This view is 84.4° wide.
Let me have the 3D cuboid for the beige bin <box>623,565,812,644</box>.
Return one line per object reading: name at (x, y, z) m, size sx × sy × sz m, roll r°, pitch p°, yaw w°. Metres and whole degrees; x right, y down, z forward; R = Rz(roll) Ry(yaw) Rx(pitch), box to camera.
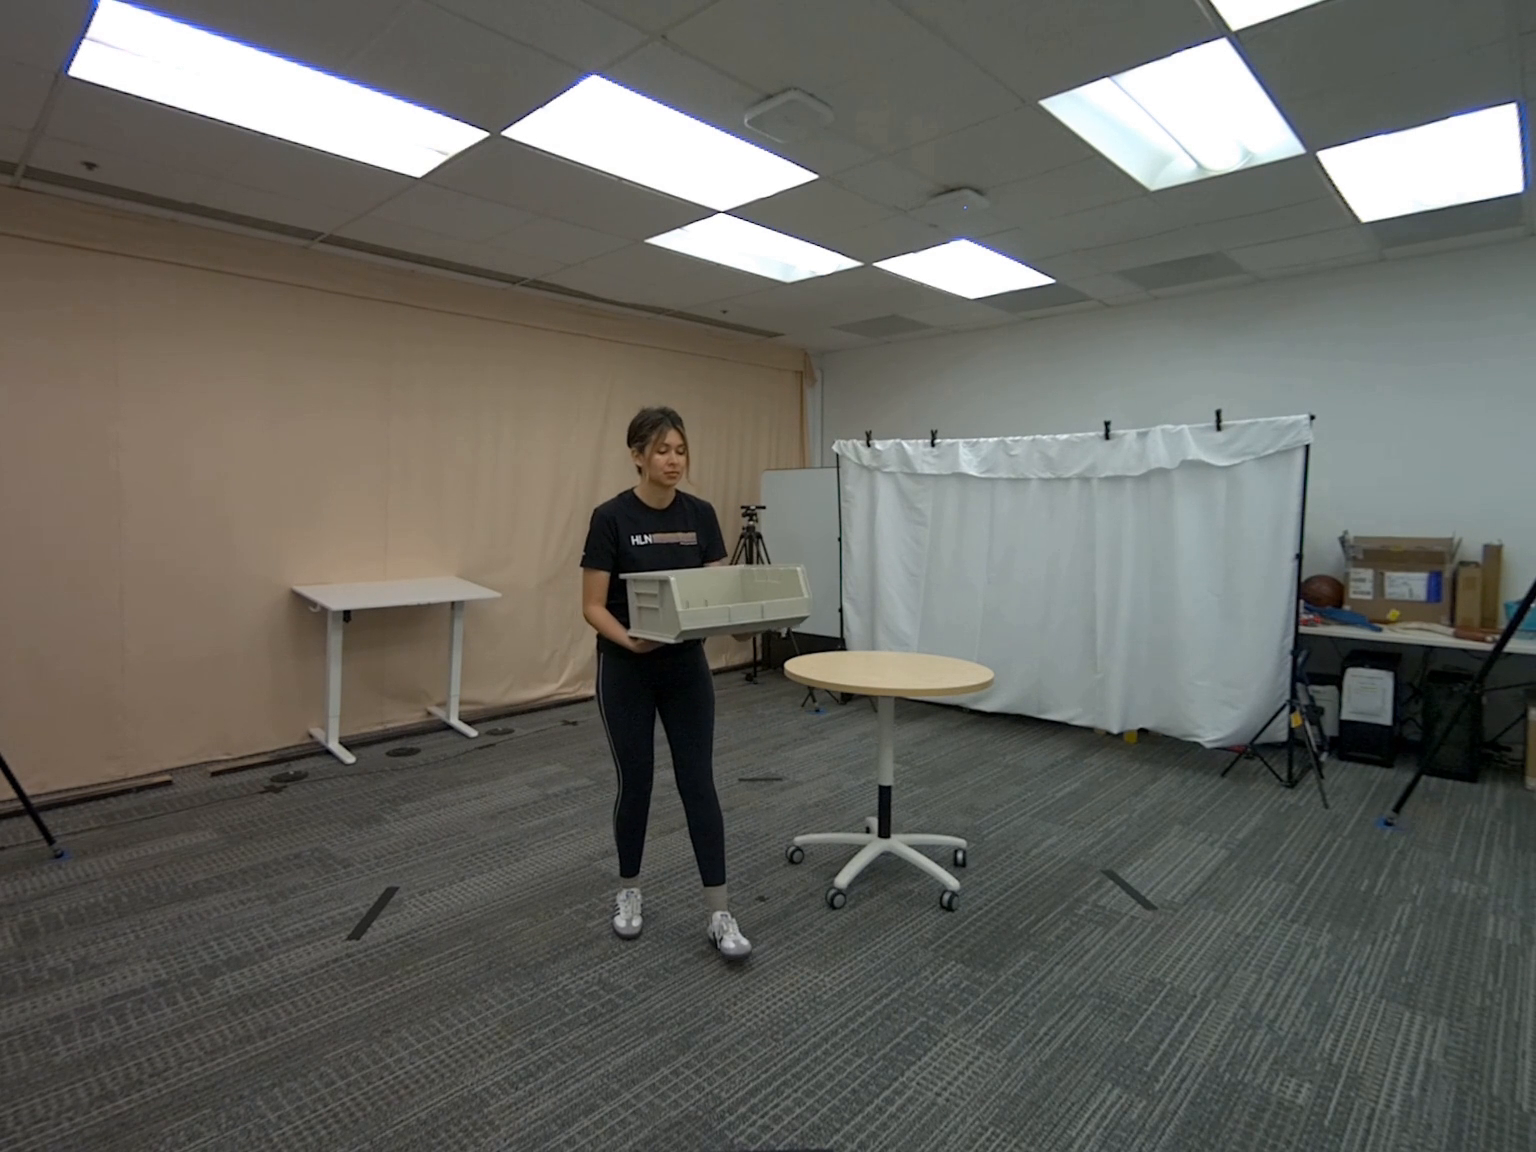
beige bin at (-0.147, 0.072, 2.409) m, size 0.411 × 0.189 × 0.388 m, roll -6°, pitch 2°, yaw -31°
